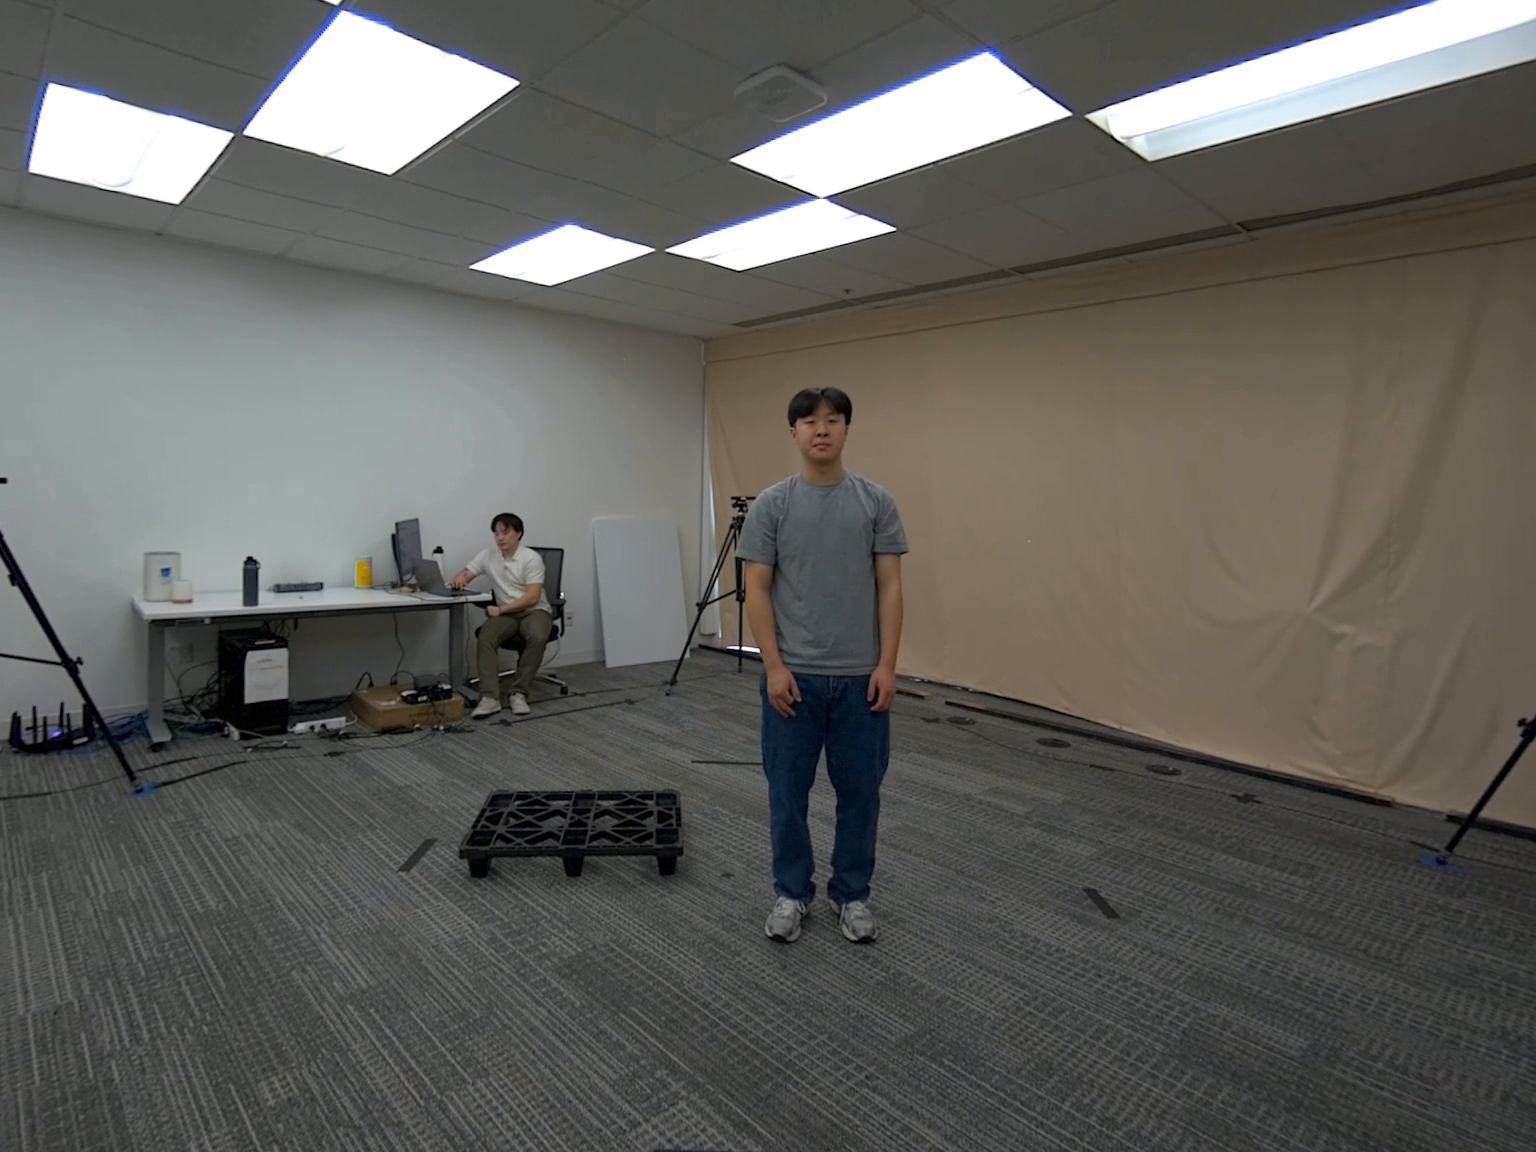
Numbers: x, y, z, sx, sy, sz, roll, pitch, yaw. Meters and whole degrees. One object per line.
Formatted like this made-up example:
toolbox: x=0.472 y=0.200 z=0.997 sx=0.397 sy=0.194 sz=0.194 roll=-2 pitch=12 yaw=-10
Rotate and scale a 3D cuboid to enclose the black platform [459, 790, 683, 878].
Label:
black platform: x=-0.739 y=1.008 z=3.289 sx=0.802 sy=0.143 sz=0.610 roll=1 pitch=6 yaw=-6
